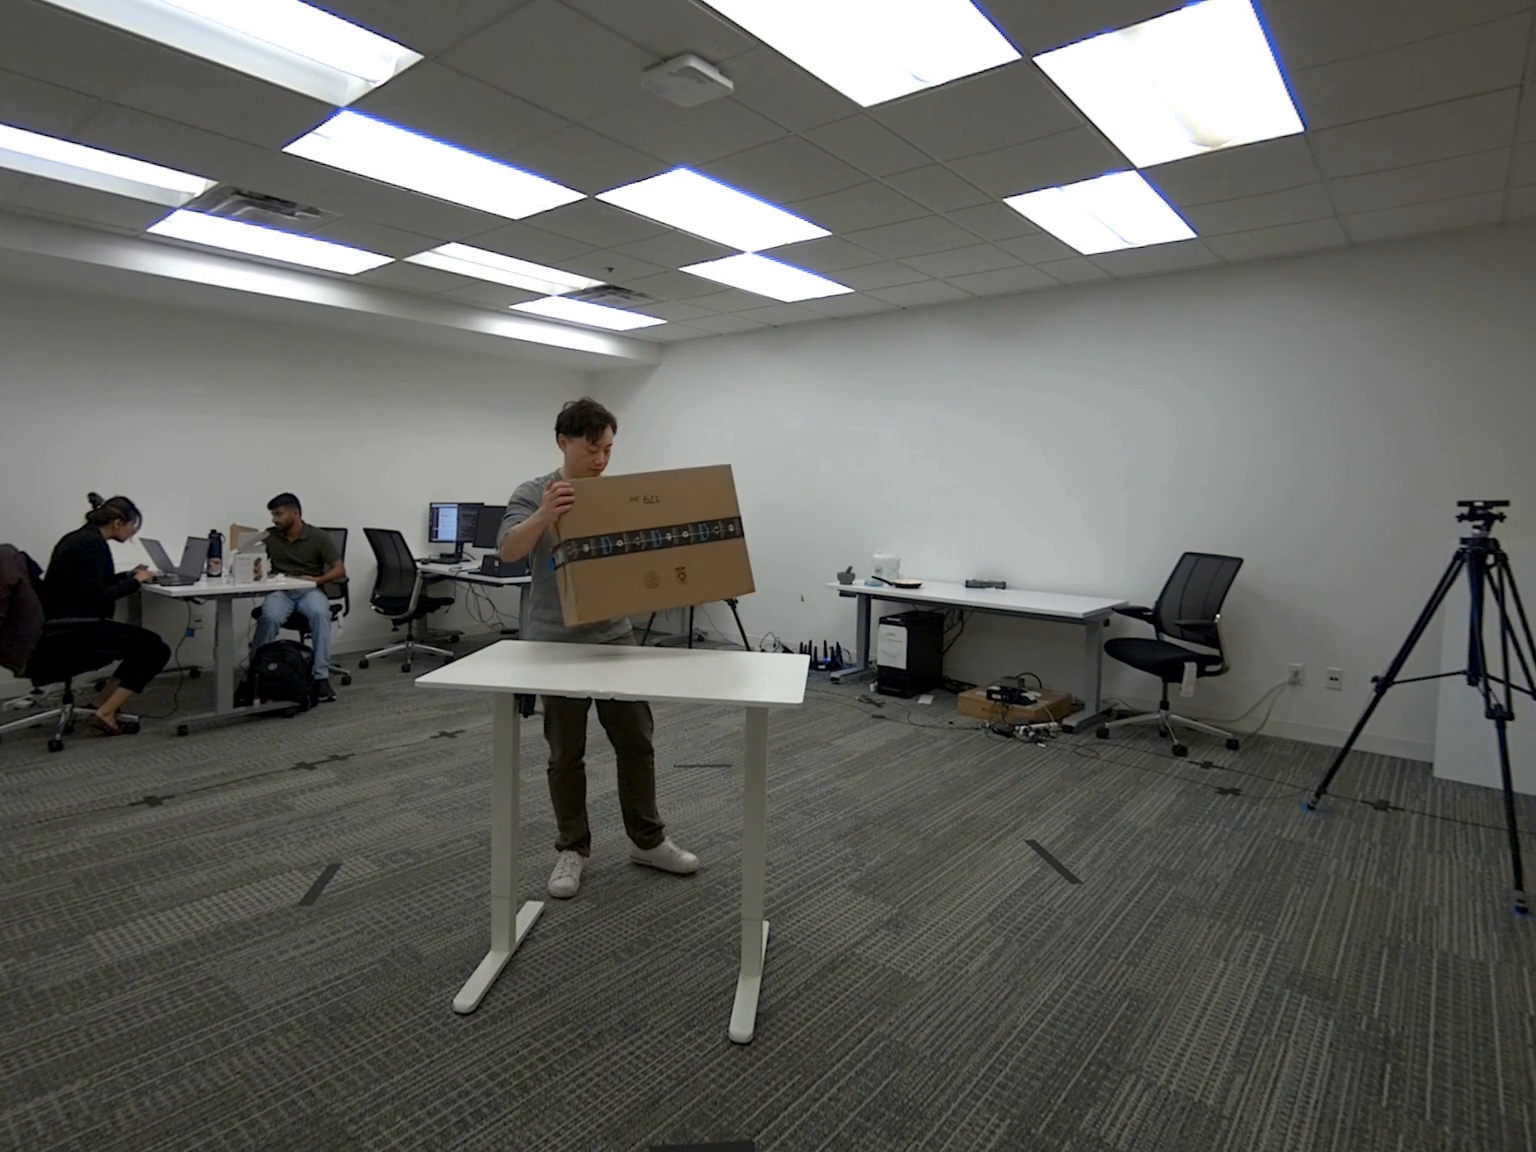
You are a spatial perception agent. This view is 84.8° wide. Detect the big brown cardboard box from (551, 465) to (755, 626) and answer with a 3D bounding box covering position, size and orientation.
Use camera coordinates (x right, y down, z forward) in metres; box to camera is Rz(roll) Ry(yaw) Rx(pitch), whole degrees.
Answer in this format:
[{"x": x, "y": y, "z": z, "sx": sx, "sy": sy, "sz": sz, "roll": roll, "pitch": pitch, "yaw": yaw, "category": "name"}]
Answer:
[{"x": -0.385, "y": -0.100, "z": 2.657, "sx": 0.578, "sy": 0.420, "sz": 0.236, "roll": -9, "pitch": -6, "yaw": -22, "category": "big brown cardboard box"}]
